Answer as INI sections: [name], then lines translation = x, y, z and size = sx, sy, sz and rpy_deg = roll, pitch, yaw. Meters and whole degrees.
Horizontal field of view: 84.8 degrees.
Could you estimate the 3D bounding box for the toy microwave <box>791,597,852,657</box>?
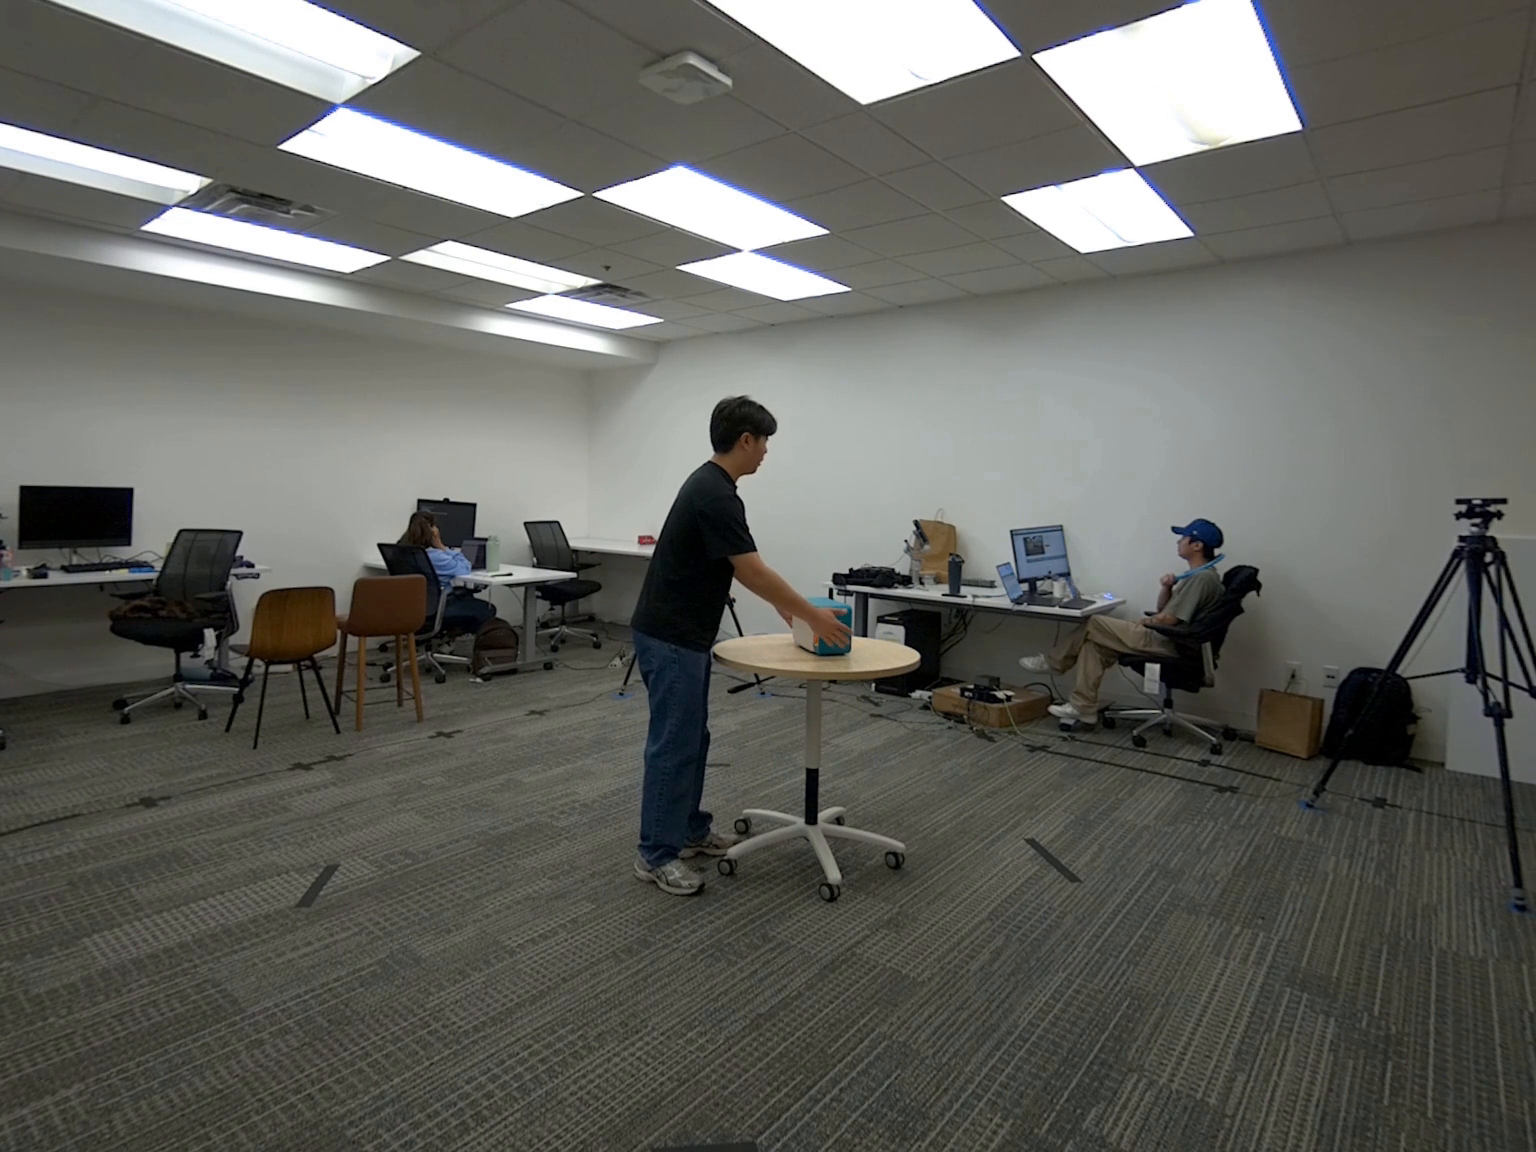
[toy microwave]
translation = 0.186, 0.189, 3.185
size = 0.150, 0.183, 0.292
rpy_deg = -1, 4, -16
